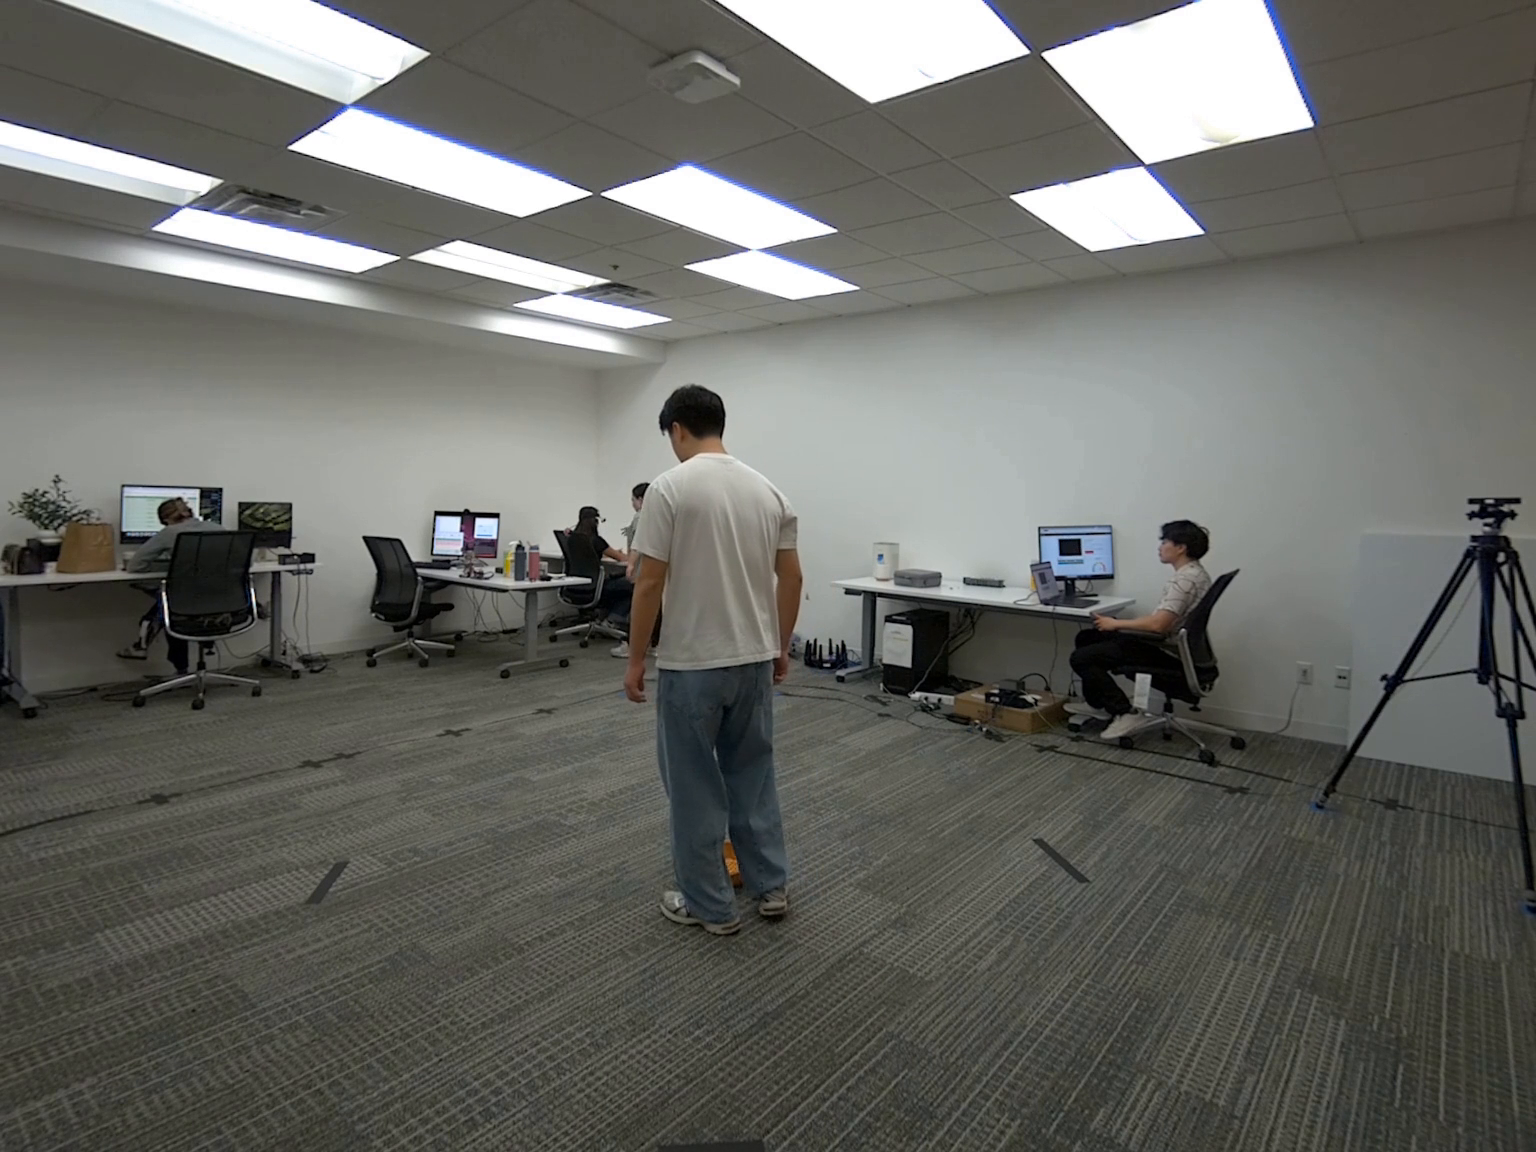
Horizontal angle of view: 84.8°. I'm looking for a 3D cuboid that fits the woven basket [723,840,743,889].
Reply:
[{"bbox_3d":[-0.195,1.026,3.050,0.261,0.073,0.340,6,8,44],"label":"woven basket"}]
